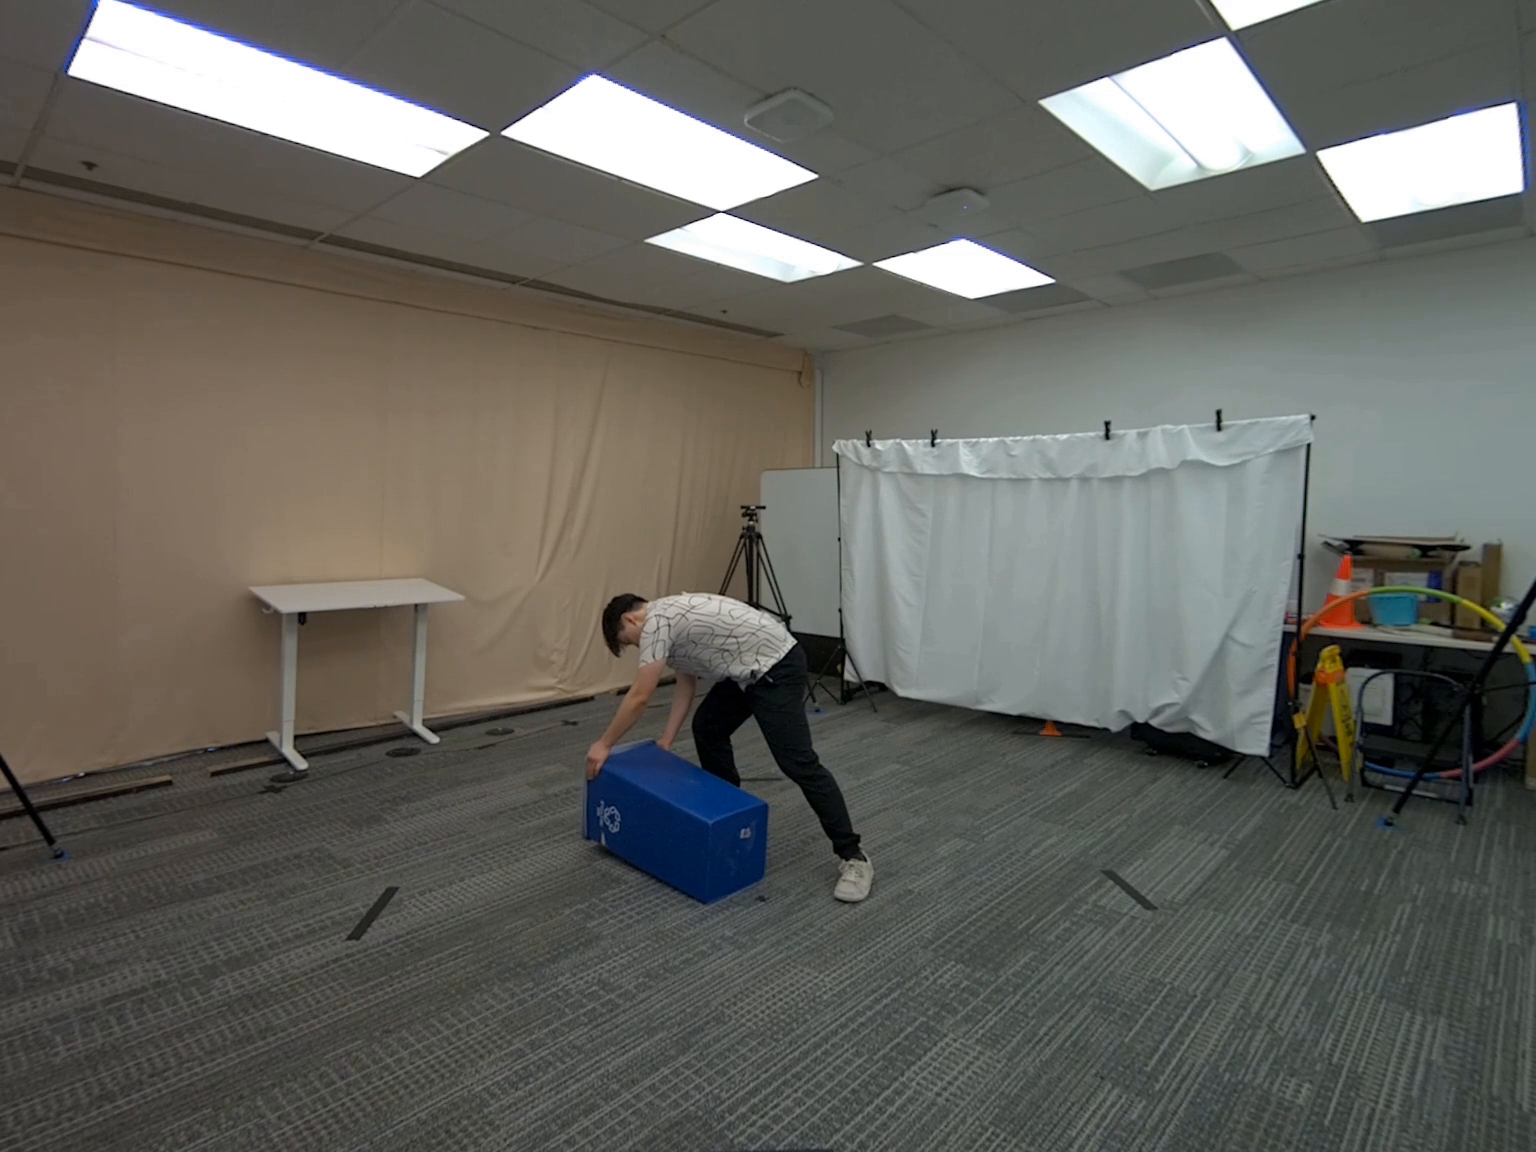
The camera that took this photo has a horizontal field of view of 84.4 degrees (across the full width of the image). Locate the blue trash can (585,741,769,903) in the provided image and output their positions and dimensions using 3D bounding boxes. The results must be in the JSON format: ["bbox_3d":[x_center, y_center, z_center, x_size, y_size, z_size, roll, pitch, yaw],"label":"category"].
[{"bbox_3d":[-0.363,0.935,3.262,0.362,0.377,0.739,-3,10,-45],"label":"blue trash can"}]
